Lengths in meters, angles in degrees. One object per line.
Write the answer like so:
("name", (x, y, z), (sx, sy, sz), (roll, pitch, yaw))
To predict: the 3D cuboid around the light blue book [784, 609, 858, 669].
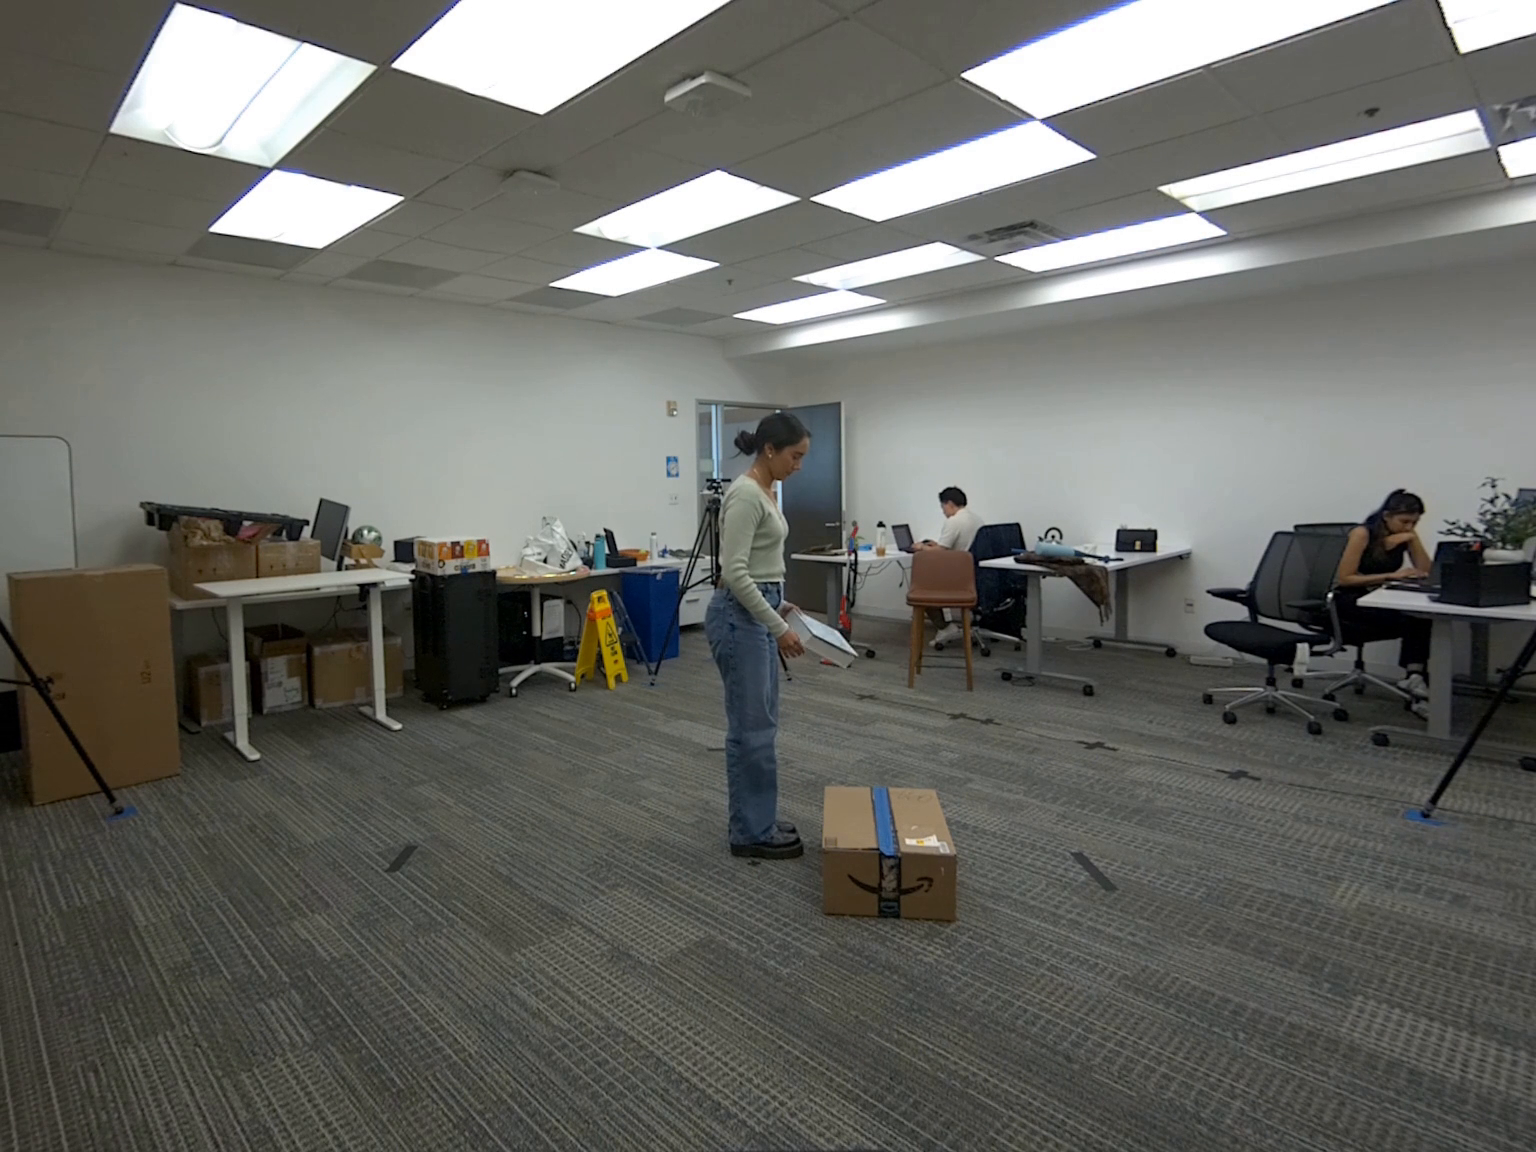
("light blue book", (0.207, 0.241, 3.392), (0.252, 0.059, 0.198), (27, 16, -33))
